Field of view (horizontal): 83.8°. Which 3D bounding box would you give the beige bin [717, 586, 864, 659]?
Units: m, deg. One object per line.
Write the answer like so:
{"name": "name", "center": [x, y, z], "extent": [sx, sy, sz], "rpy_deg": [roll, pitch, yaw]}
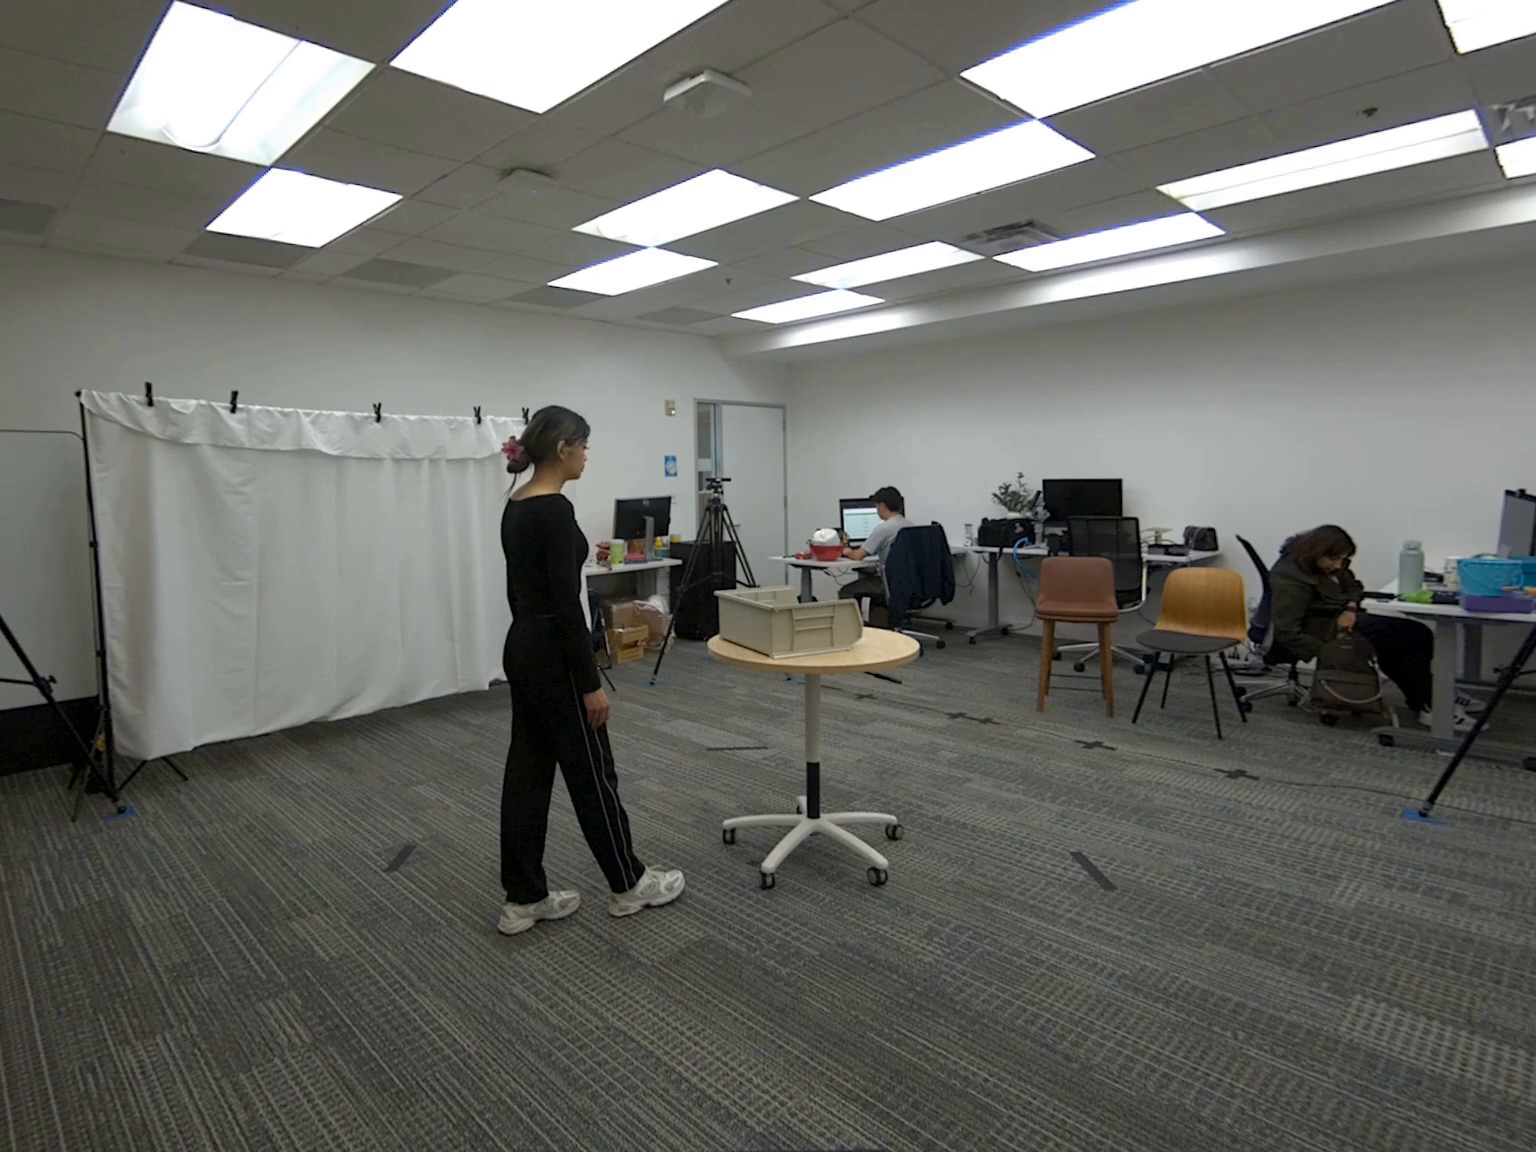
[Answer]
{"name": "beige bin", "center": [0.071, 0.157, 3.095], "extent": [0.369, 0.188, 0.434], "rpy_deg": [-6, 8, -29]}
